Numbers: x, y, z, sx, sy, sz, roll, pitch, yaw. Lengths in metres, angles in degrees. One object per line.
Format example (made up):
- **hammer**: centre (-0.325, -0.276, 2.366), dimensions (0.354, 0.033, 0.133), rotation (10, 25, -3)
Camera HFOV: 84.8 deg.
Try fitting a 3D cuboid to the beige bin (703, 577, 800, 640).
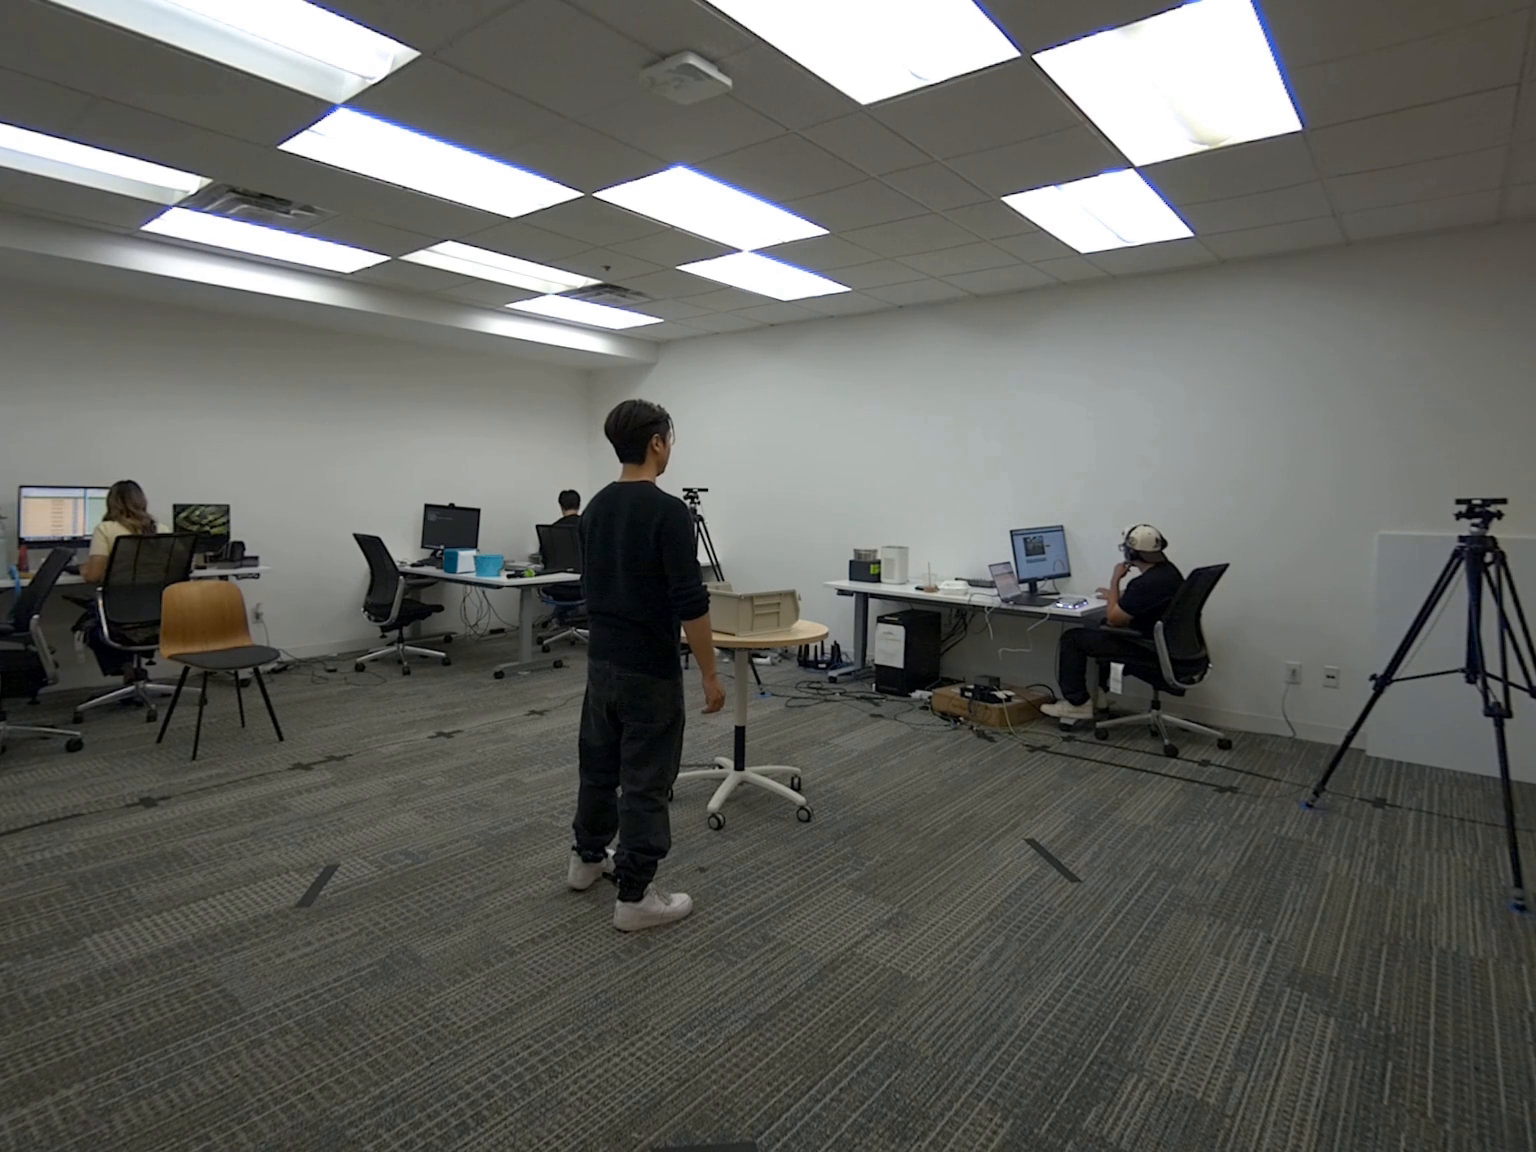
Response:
- **beige bin**: centre (-0.146, 0.133, 3.746), dimensions (0.366, 0.188, 0.437), rotation (-6, 8, -44)
